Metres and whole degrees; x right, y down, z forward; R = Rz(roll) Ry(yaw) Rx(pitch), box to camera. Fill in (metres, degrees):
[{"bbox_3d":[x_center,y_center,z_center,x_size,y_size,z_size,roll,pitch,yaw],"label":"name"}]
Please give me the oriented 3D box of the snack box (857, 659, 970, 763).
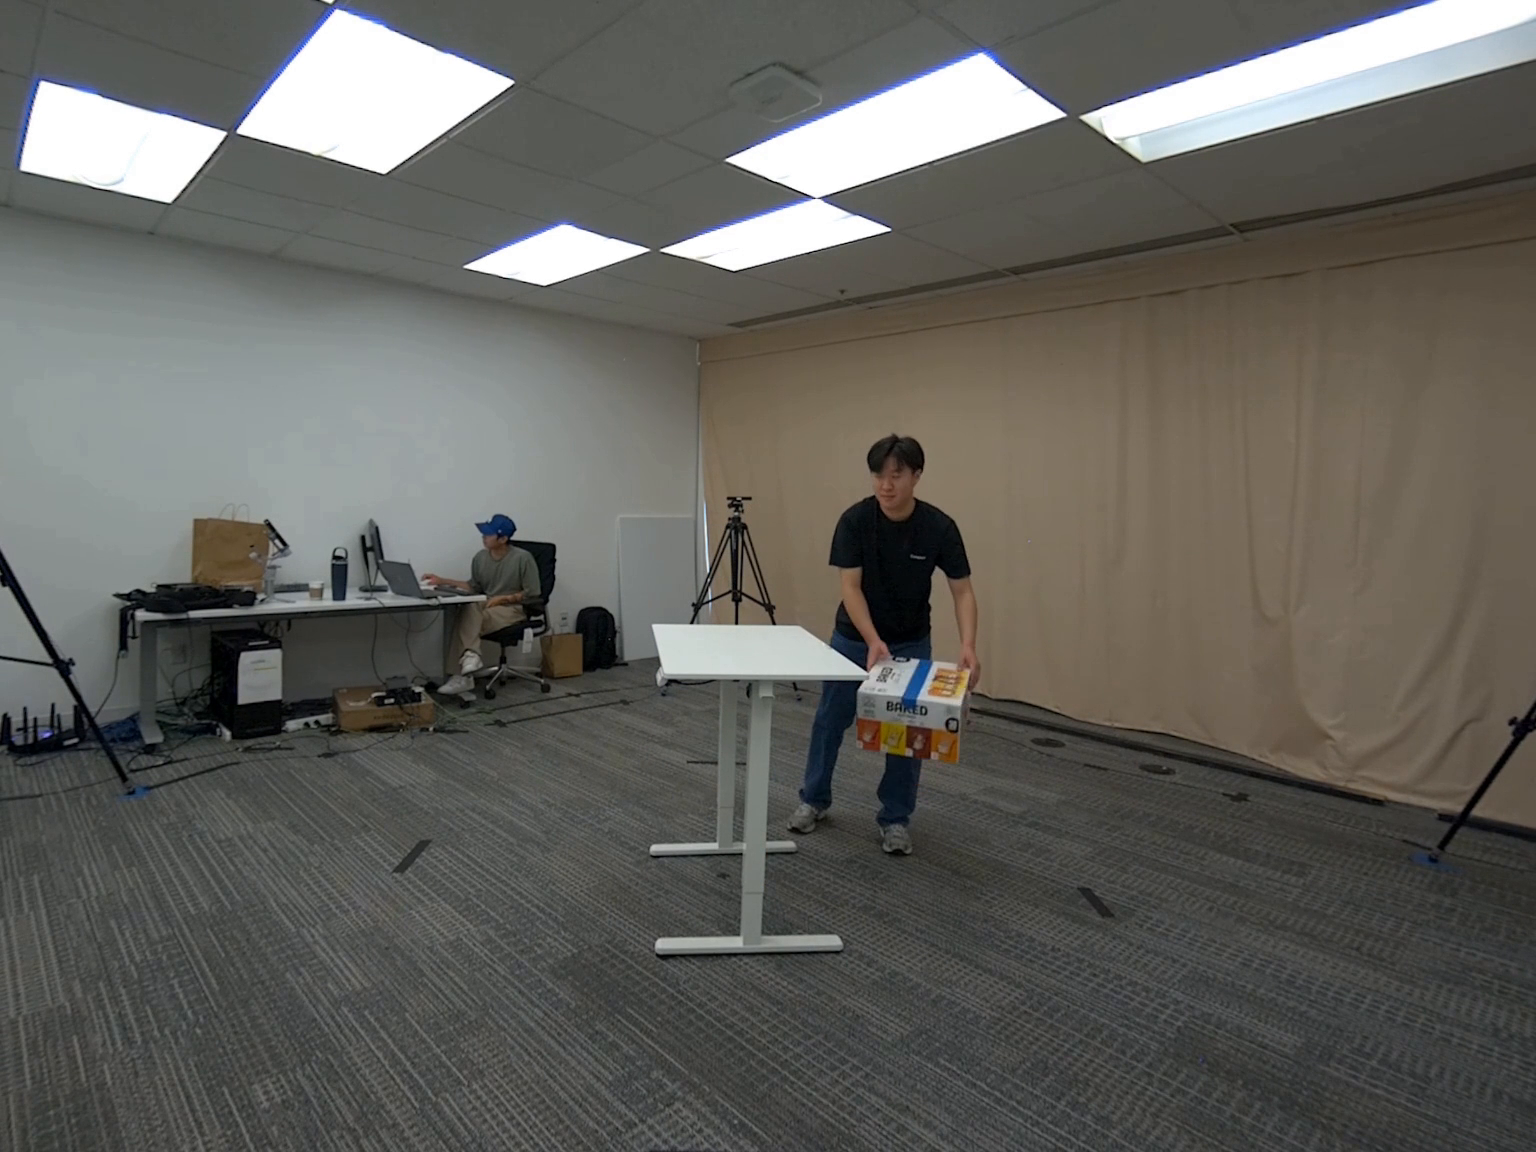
[{"bbox_3d":[0.507,0.461,2.958,0.346,0.204,0.402,4,13,20],"label":"snack box"}]
